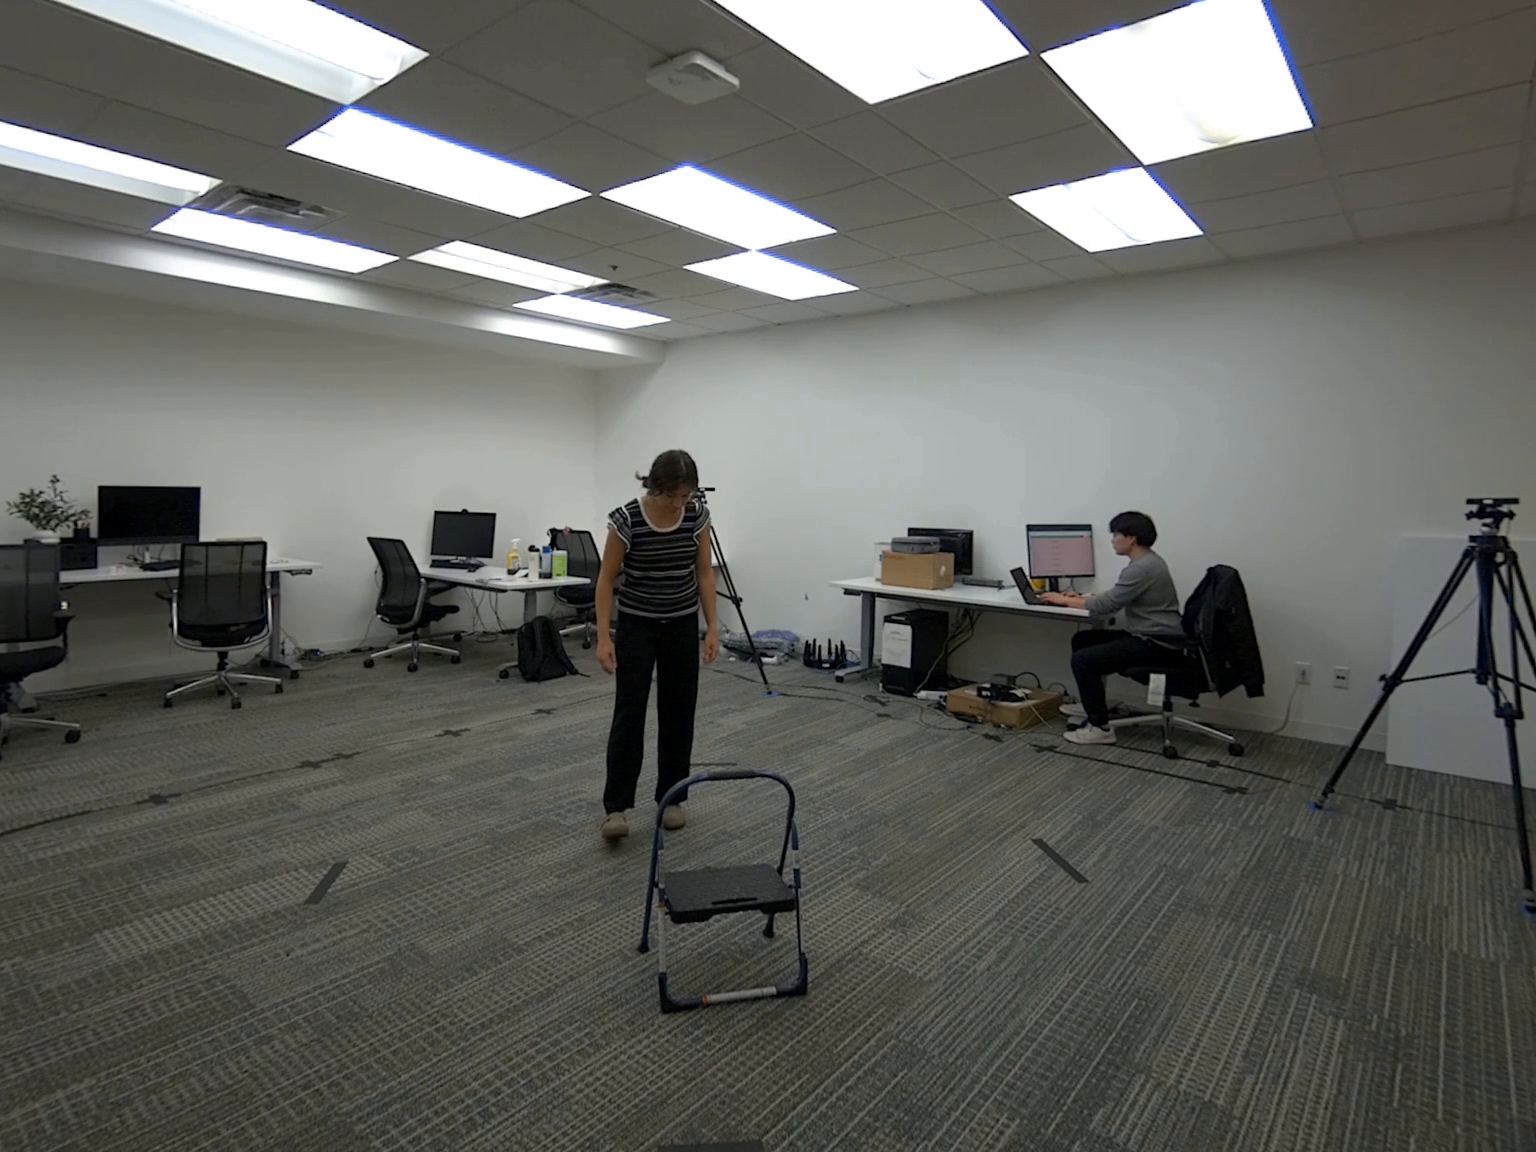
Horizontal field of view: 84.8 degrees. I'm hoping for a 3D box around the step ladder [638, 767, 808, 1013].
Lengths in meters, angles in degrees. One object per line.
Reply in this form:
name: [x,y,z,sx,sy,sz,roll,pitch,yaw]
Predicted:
step ladder: [-0.138,0.835,2.441,0.423,0.604,0.356,0,4,-17]
